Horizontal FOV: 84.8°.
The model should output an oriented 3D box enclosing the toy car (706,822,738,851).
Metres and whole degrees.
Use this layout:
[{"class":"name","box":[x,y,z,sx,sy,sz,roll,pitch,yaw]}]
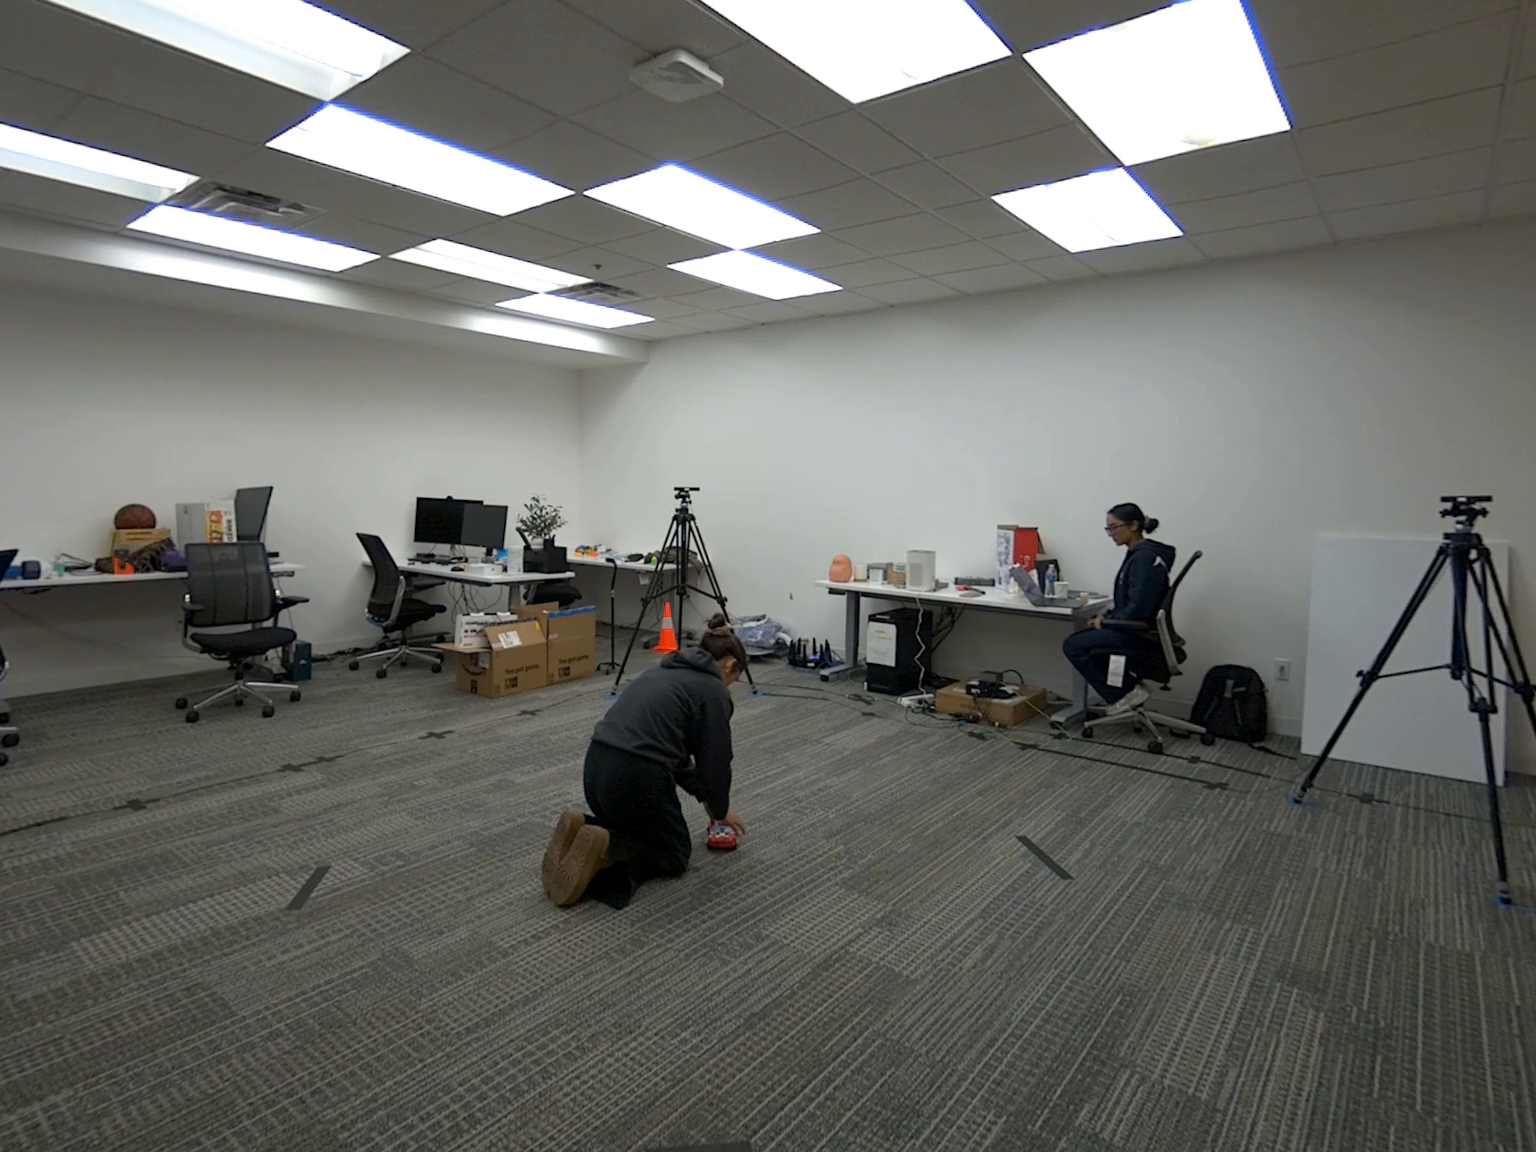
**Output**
[{"class":"toy car","box":[-0.185,1.006,3.380,0.130,0.082,0.259,-1,17,-2]}]
